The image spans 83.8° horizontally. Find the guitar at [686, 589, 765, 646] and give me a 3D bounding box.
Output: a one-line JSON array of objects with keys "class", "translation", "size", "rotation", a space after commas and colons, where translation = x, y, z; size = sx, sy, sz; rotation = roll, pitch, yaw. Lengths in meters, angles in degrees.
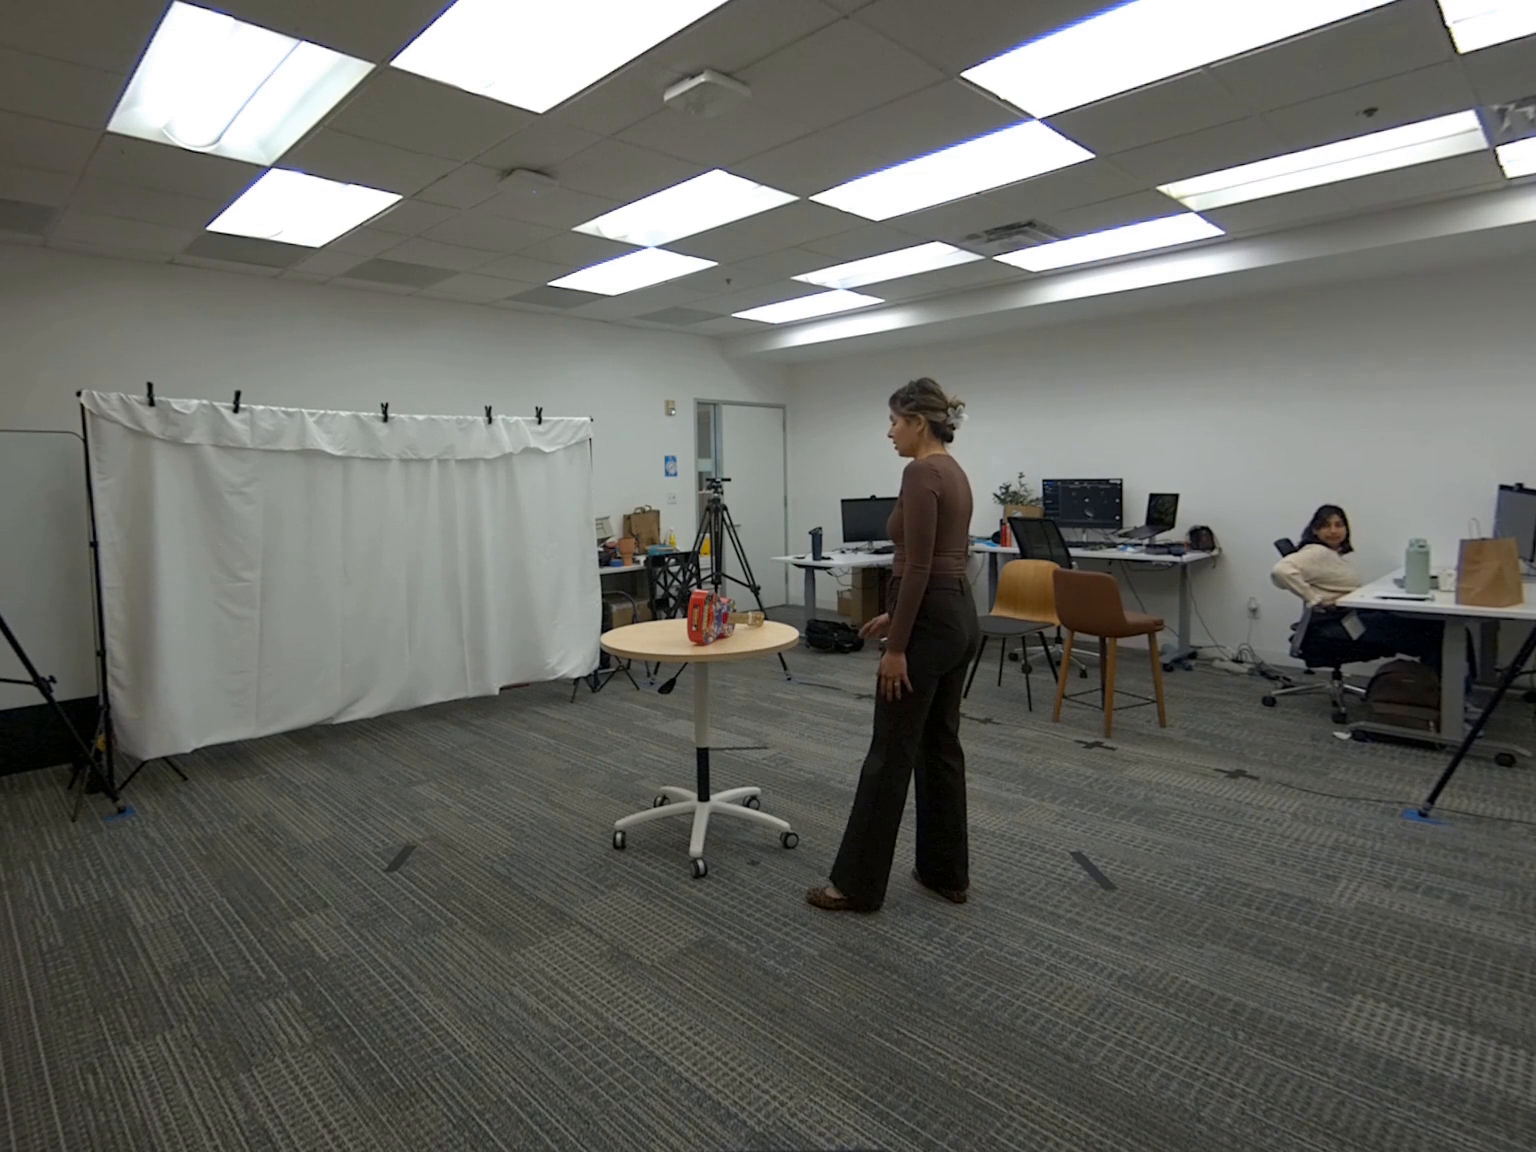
[{"class": "guitar", "translation": [-0.155, 0.188, 3.265], "size": [0.072, 0.195, 0.481], "rotation": [0, -13, 26]}]
